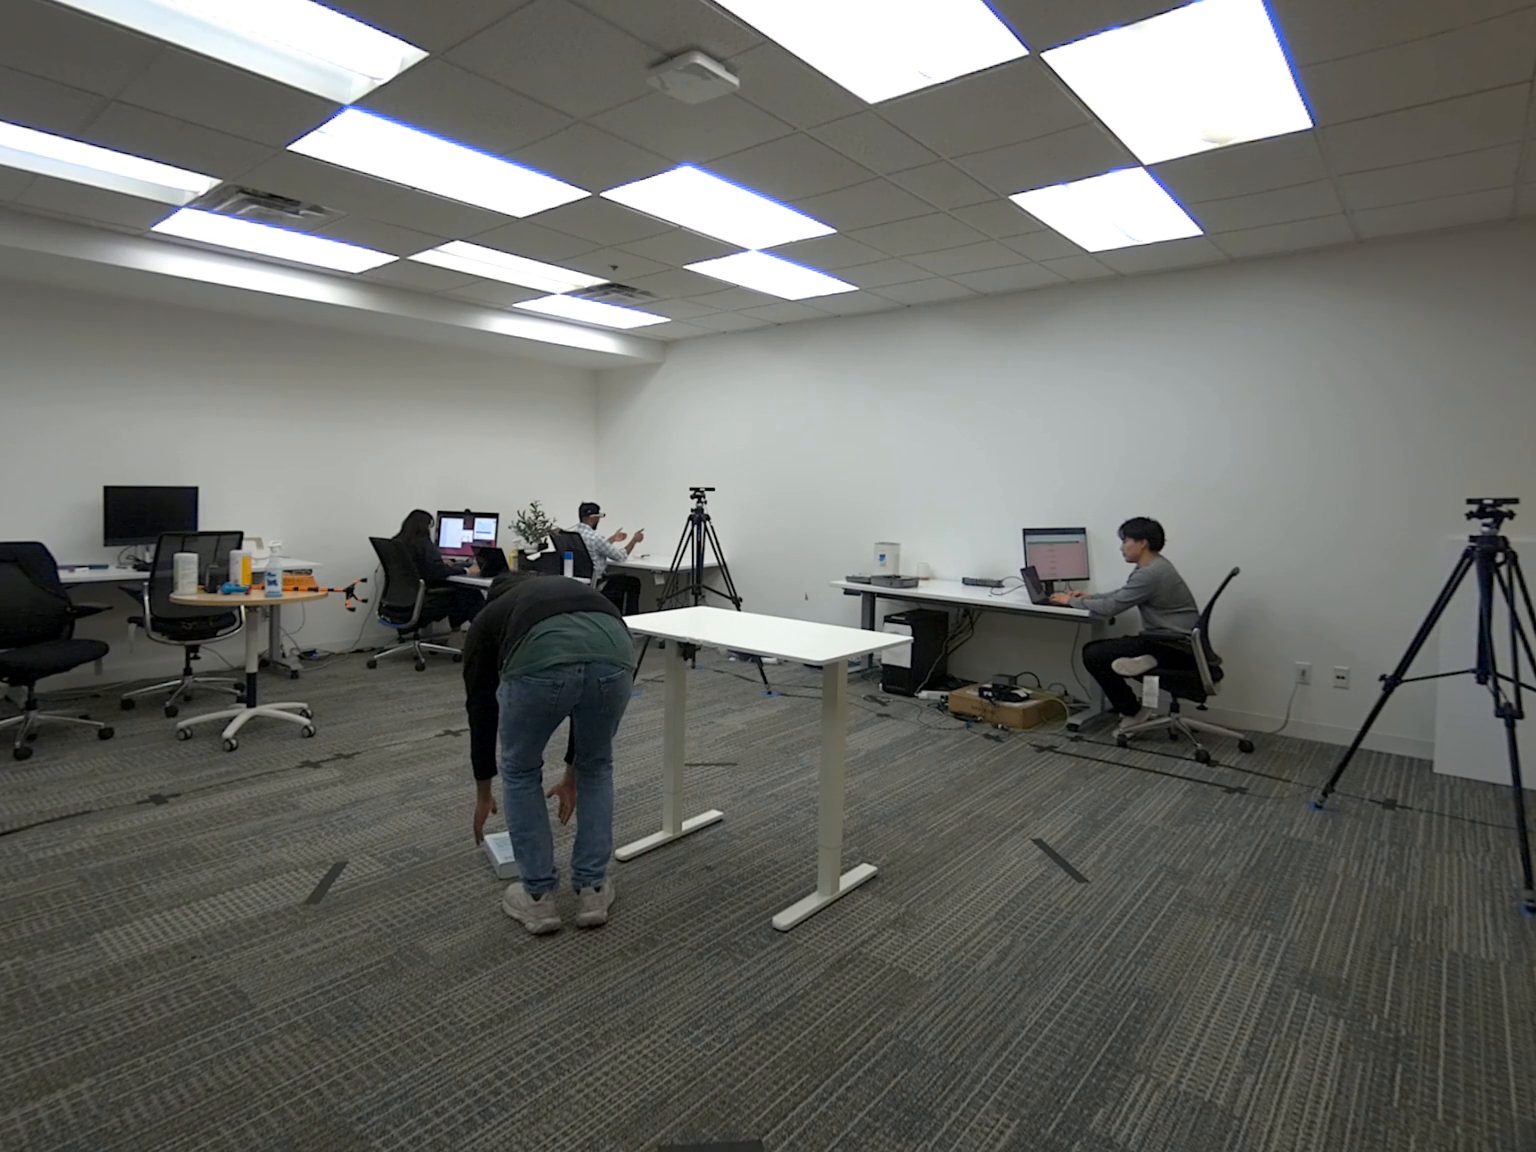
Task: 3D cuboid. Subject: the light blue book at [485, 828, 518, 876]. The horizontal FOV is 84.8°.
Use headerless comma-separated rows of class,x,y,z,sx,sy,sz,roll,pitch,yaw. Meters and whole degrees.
light blue book,-0.933,1.017,3.140,0.186,0.059,0.269,-2,6,-29
